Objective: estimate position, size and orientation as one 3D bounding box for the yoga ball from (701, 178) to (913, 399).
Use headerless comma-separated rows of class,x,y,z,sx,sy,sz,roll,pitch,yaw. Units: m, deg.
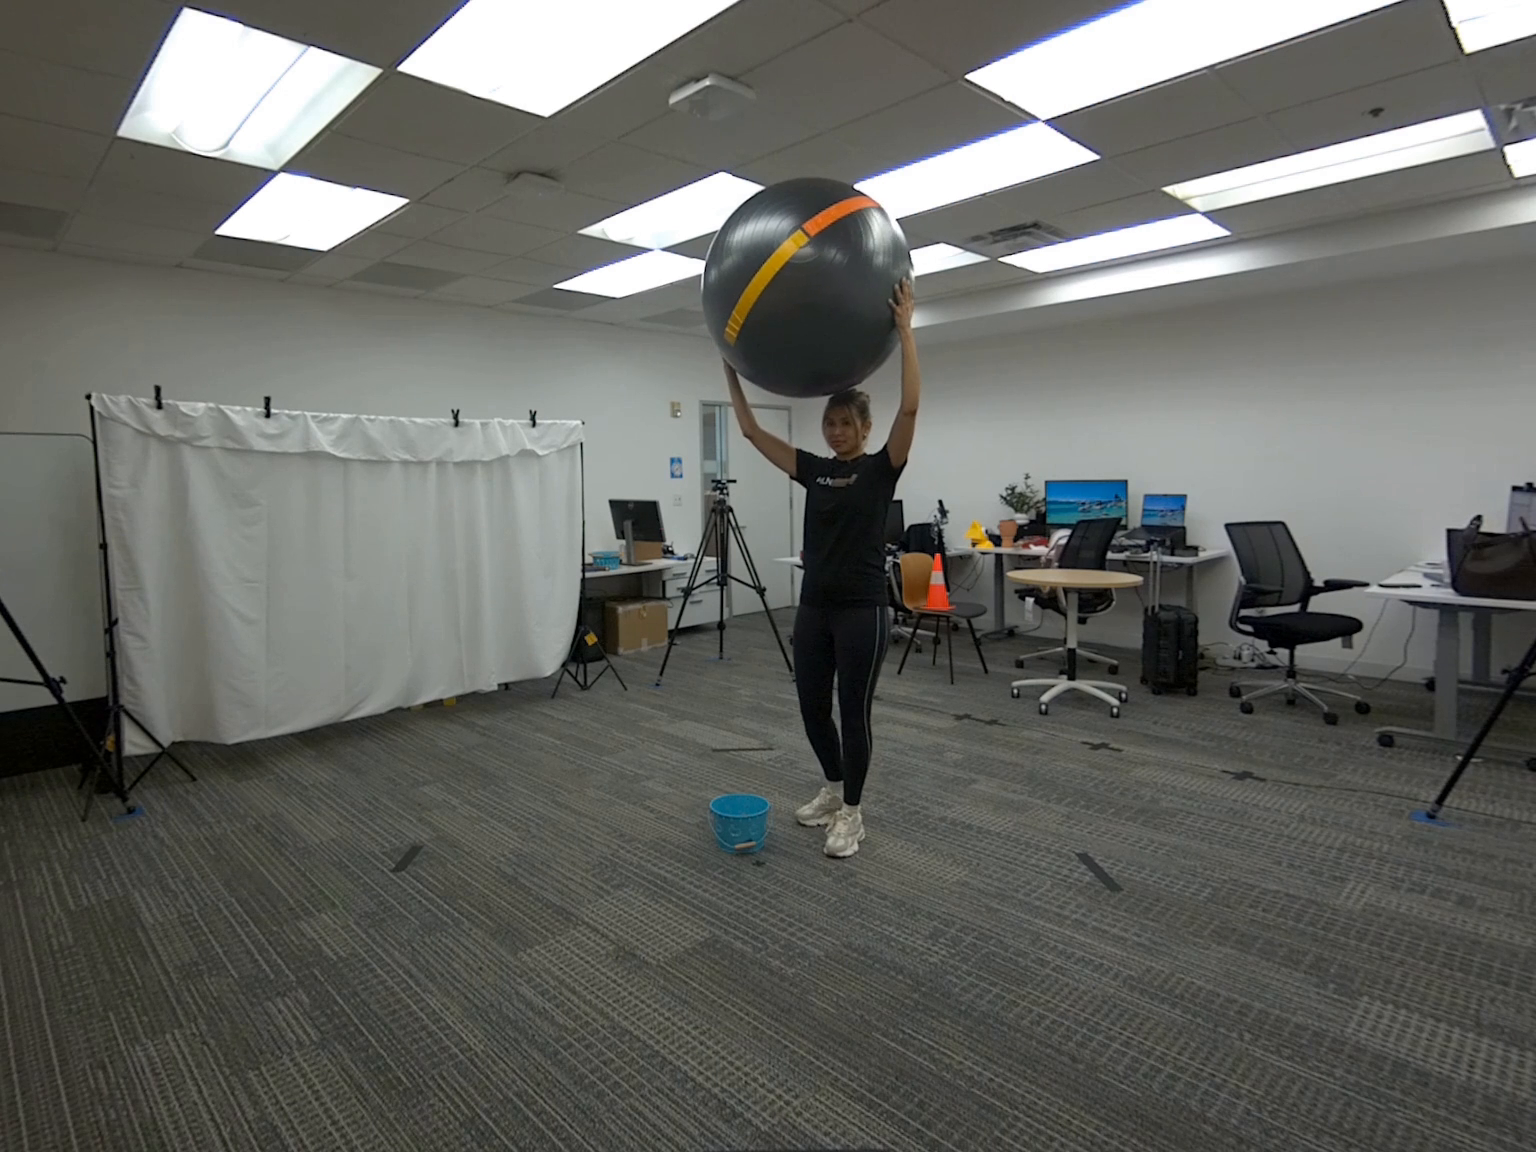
yoga ball,0.139,-1.015,3.060,0.757,0.755,0.762,-1,5,-2
